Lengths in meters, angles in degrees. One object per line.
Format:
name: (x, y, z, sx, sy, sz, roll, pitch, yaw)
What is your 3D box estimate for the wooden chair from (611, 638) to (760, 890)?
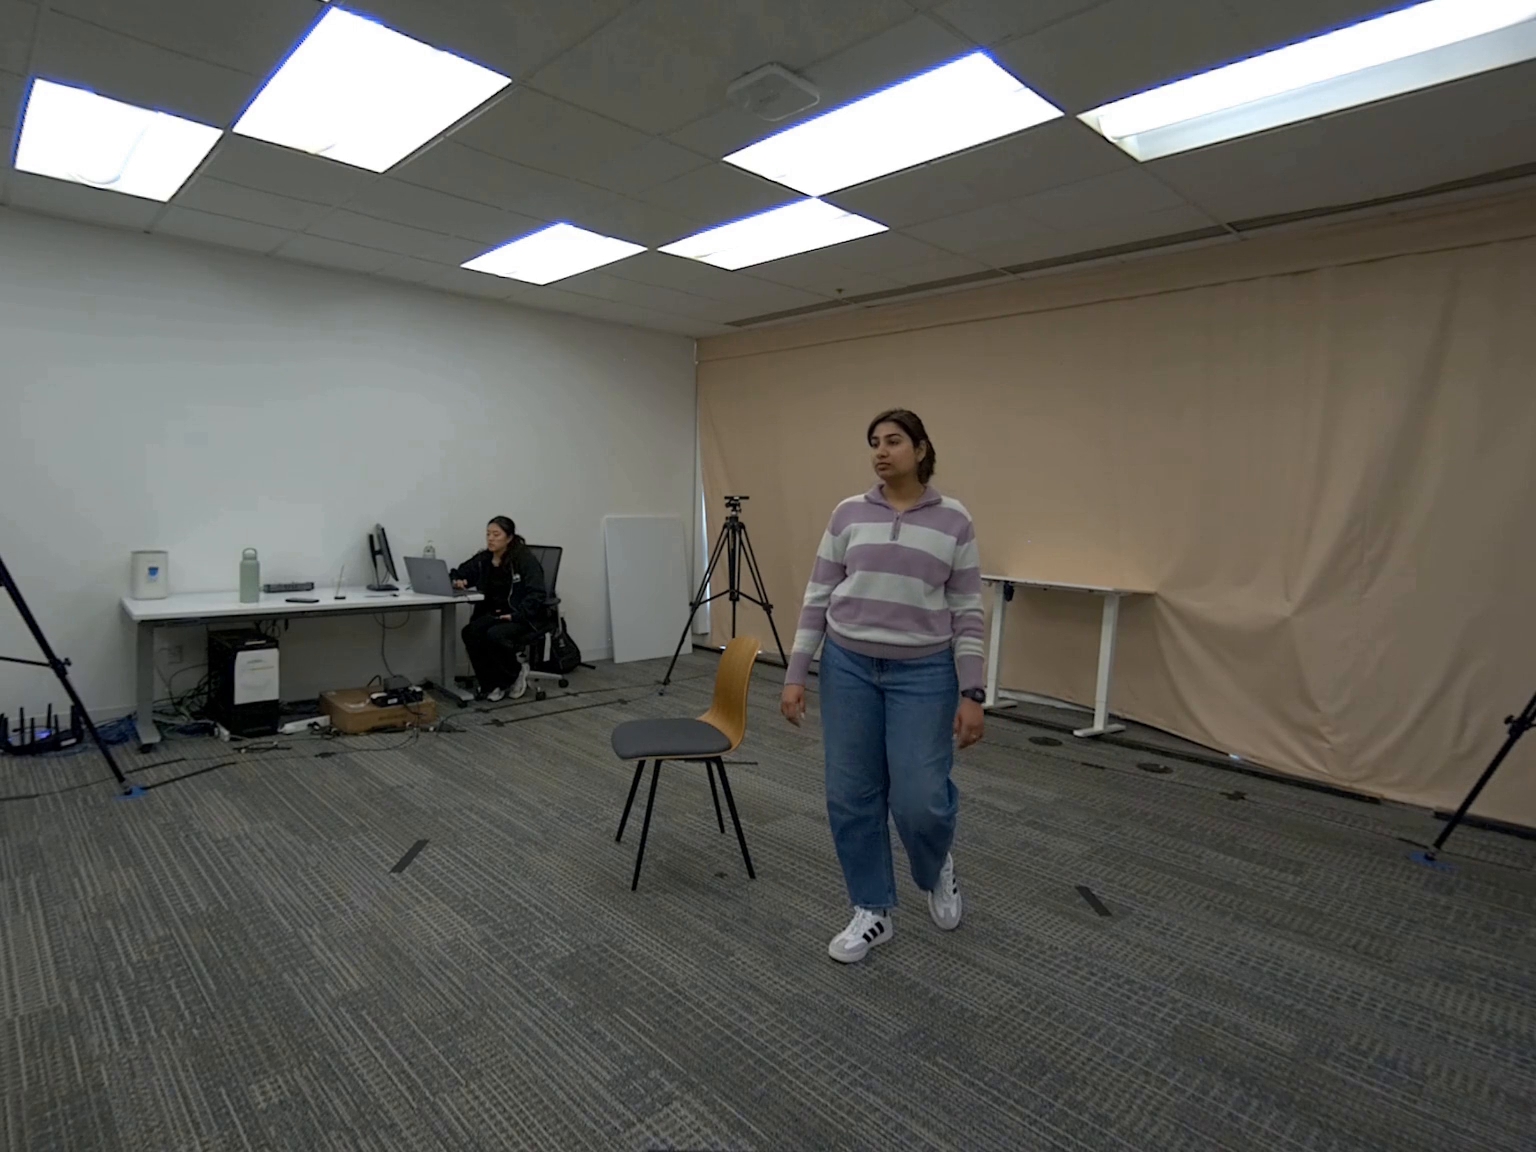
wooden chair: (-0.332, 0.663, 3.196, 0.516, 0.876, 0.485, 4, 3, -17)
